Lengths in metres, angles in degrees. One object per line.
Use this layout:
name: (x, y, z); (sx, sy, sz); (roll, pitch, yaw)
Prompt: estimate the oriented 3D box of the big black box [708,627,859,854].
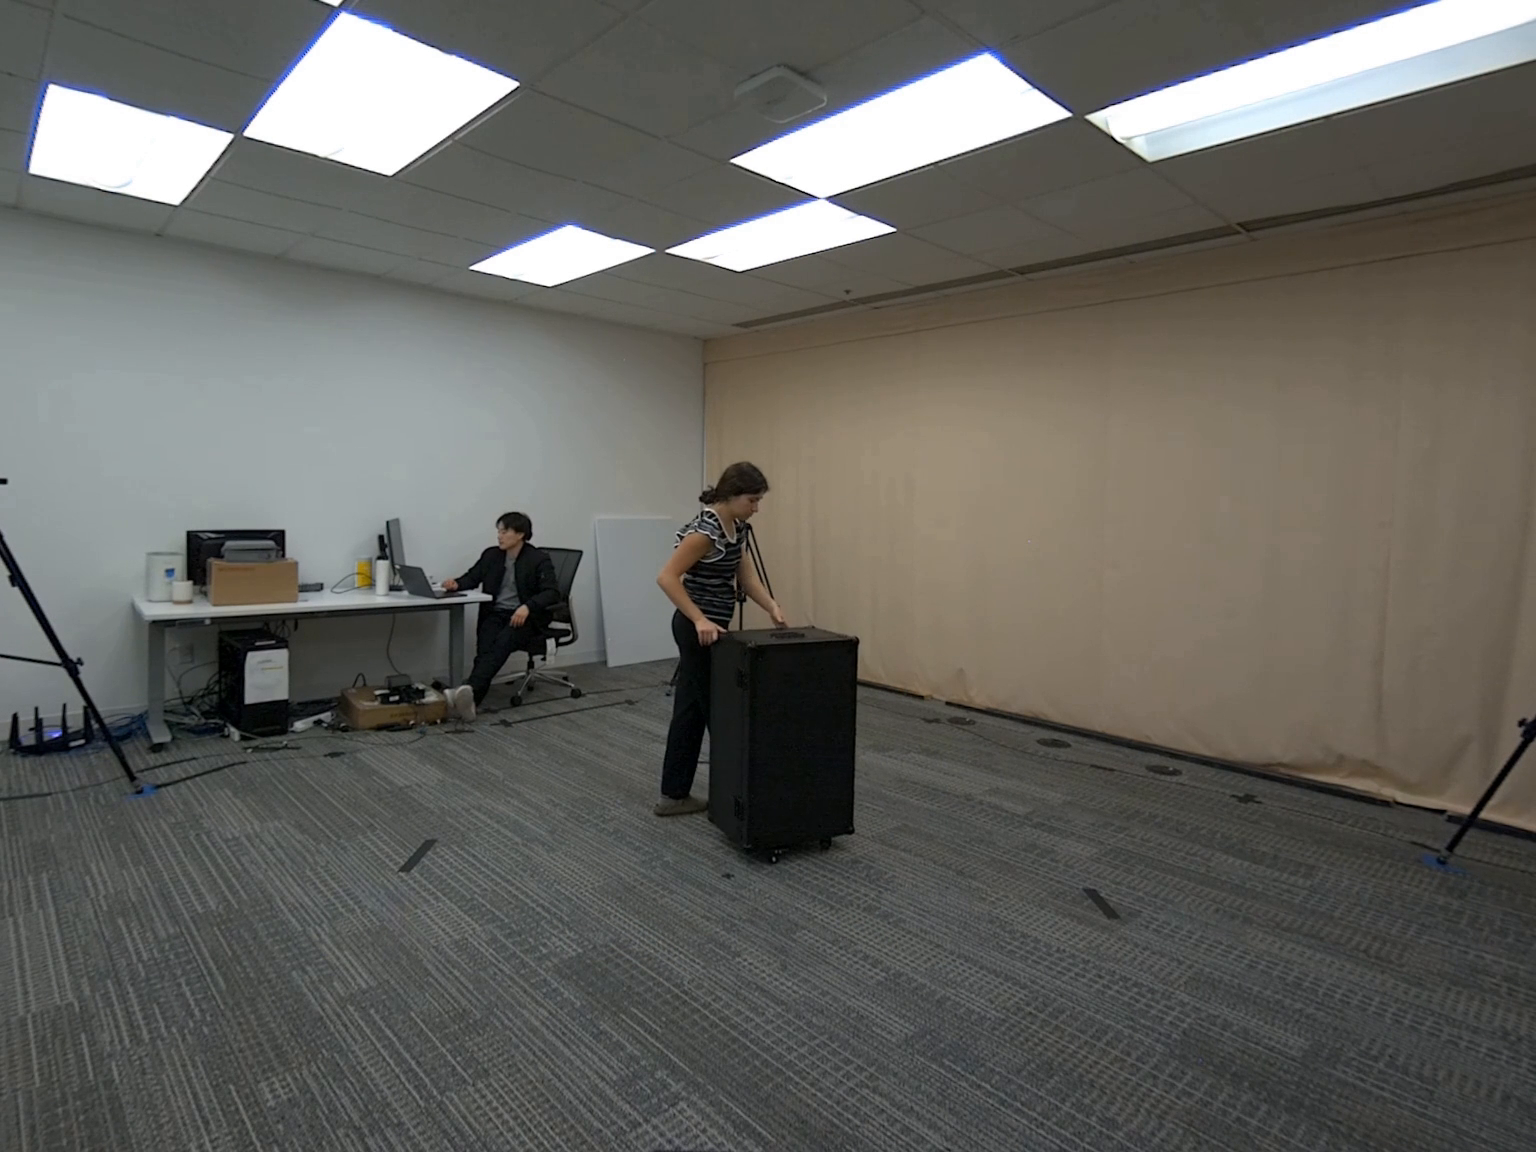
big black box: (0.040, 0.661, 3.389); (0.511, 0.860, 0.404); (-1, 3, -28)
